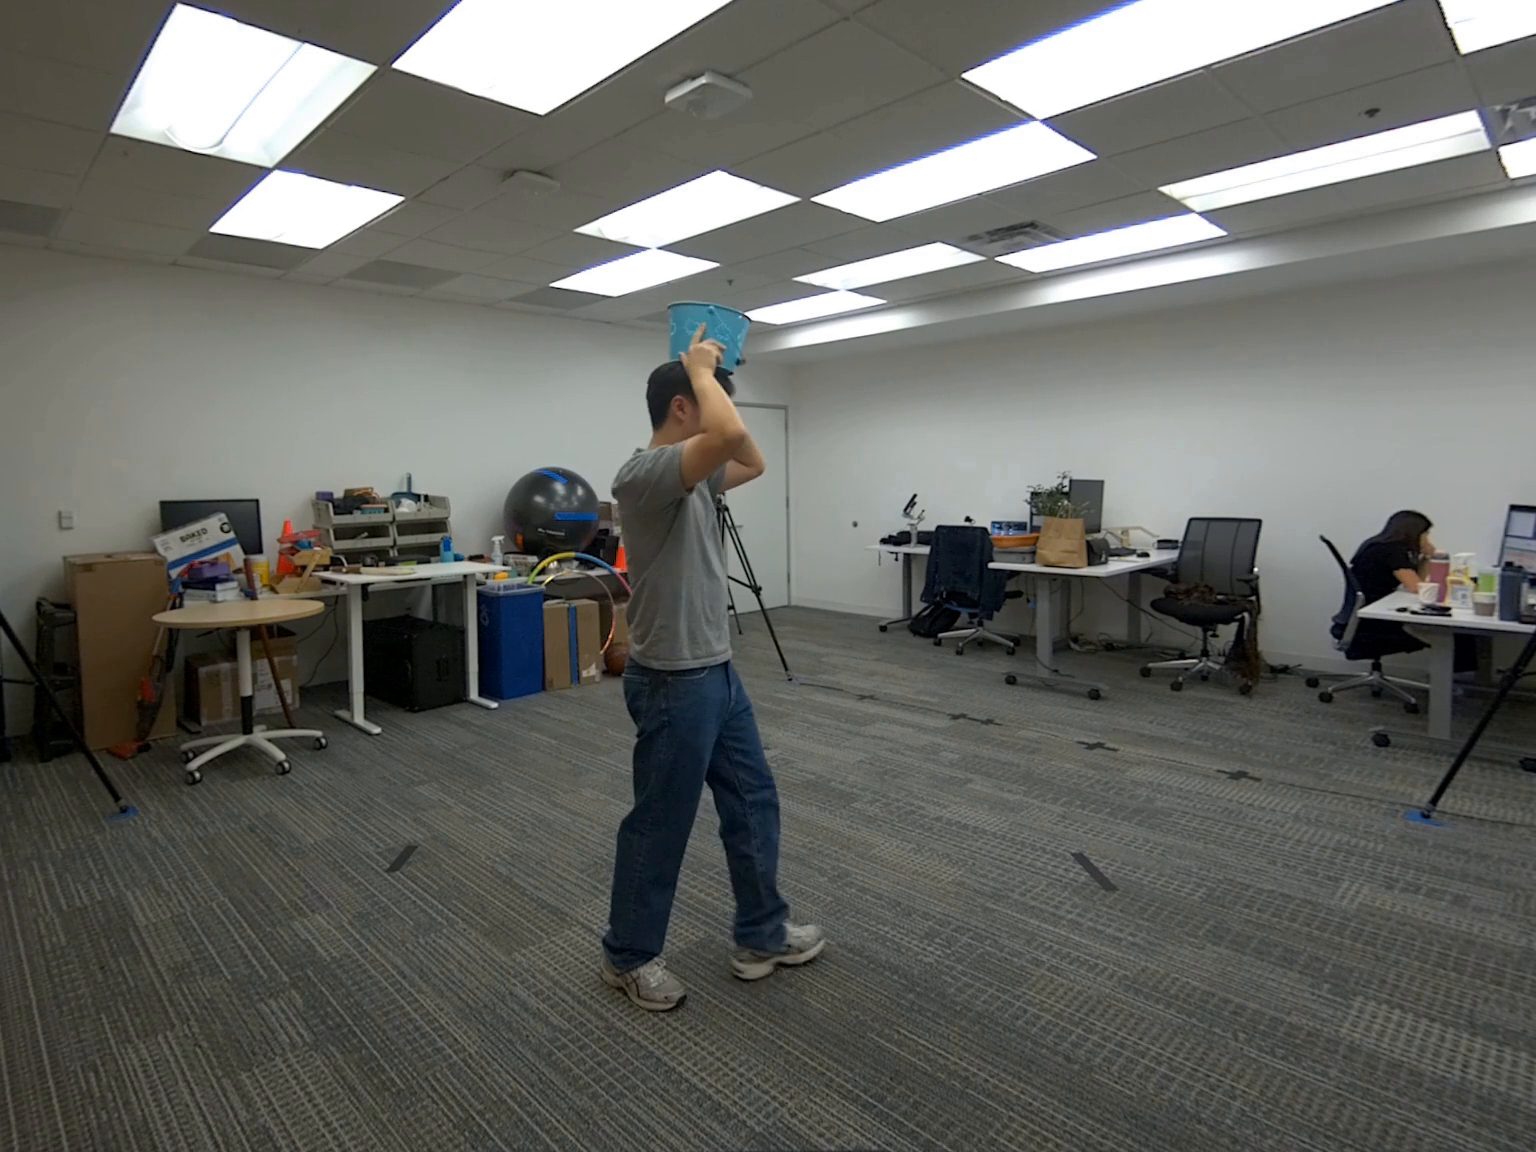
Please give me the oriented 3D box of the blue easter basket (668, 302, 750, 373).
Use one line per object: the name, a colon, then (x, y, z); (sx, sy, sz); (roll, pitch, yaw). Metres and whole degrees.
blue easter basket: (-0.173, -0.645, 2.332); (0.243, 0.156, 0.244); (6, 3, -2)
